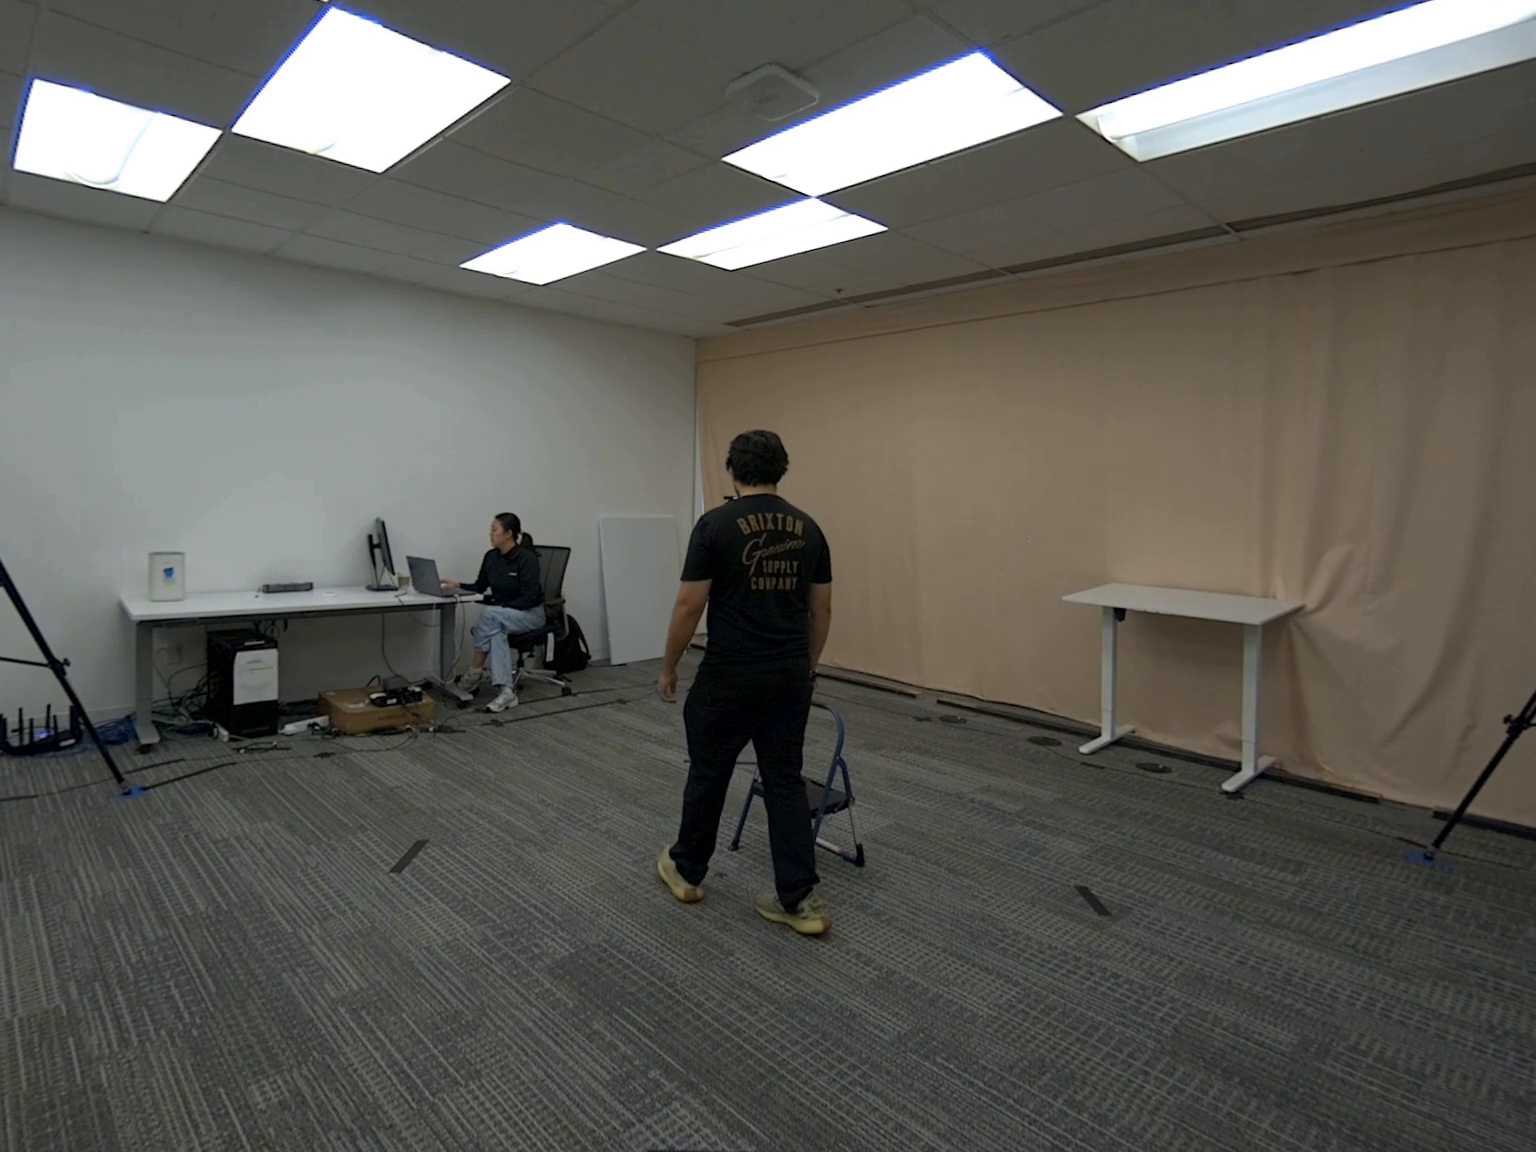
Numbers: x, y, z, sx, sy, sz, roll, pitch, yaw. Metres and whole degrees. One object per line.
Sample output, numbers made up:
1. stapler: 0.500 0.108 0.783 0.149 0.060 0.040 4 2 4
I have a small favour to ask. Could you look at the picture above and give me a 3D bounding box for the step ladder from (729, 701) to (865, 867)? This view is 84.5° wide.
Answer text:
1. step ladder: 0.115 0.793 3.257 0.341 0.605 0.441 -1 4 -38
